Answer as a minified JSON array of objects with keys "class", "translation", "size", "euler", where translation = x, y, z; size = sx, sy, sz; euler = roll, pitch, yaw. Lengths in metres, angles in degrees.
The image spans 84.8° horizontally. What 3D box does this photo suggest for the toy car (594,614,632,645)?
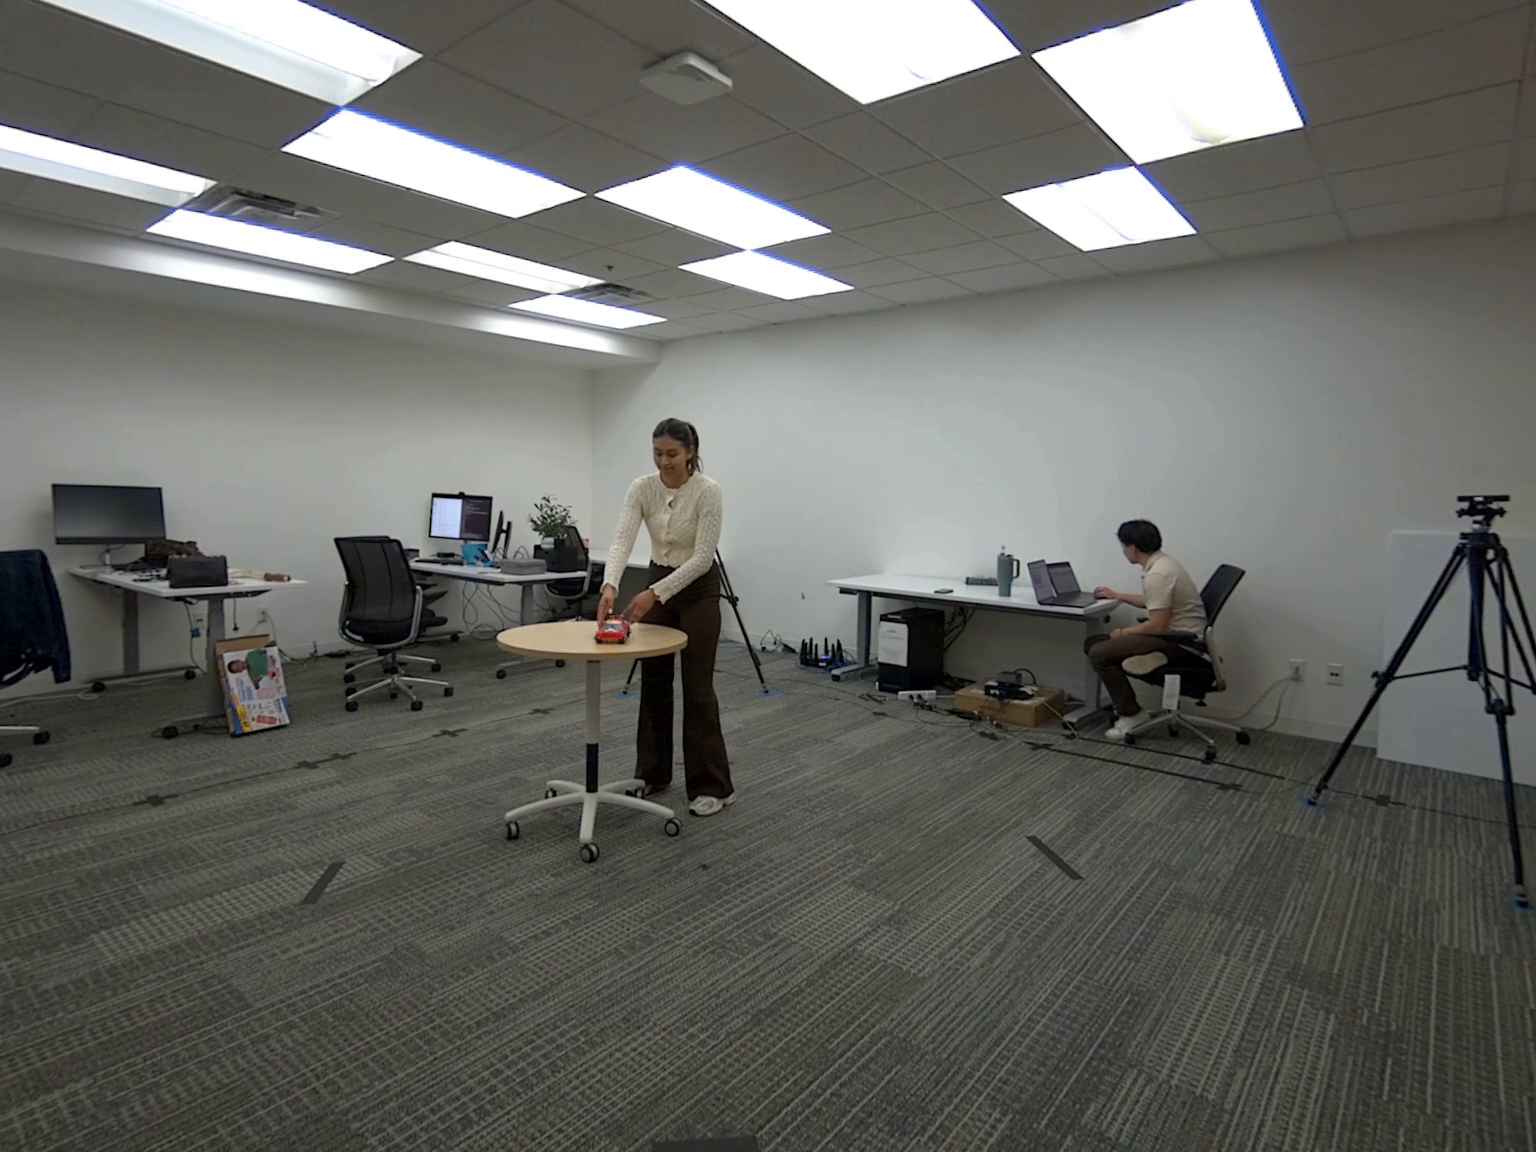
[{"class":"toy car","translation":[-0.630,0.217,3.388],"size":[0.129,0.082,0.259],"euler":[2,16,-6]}]
